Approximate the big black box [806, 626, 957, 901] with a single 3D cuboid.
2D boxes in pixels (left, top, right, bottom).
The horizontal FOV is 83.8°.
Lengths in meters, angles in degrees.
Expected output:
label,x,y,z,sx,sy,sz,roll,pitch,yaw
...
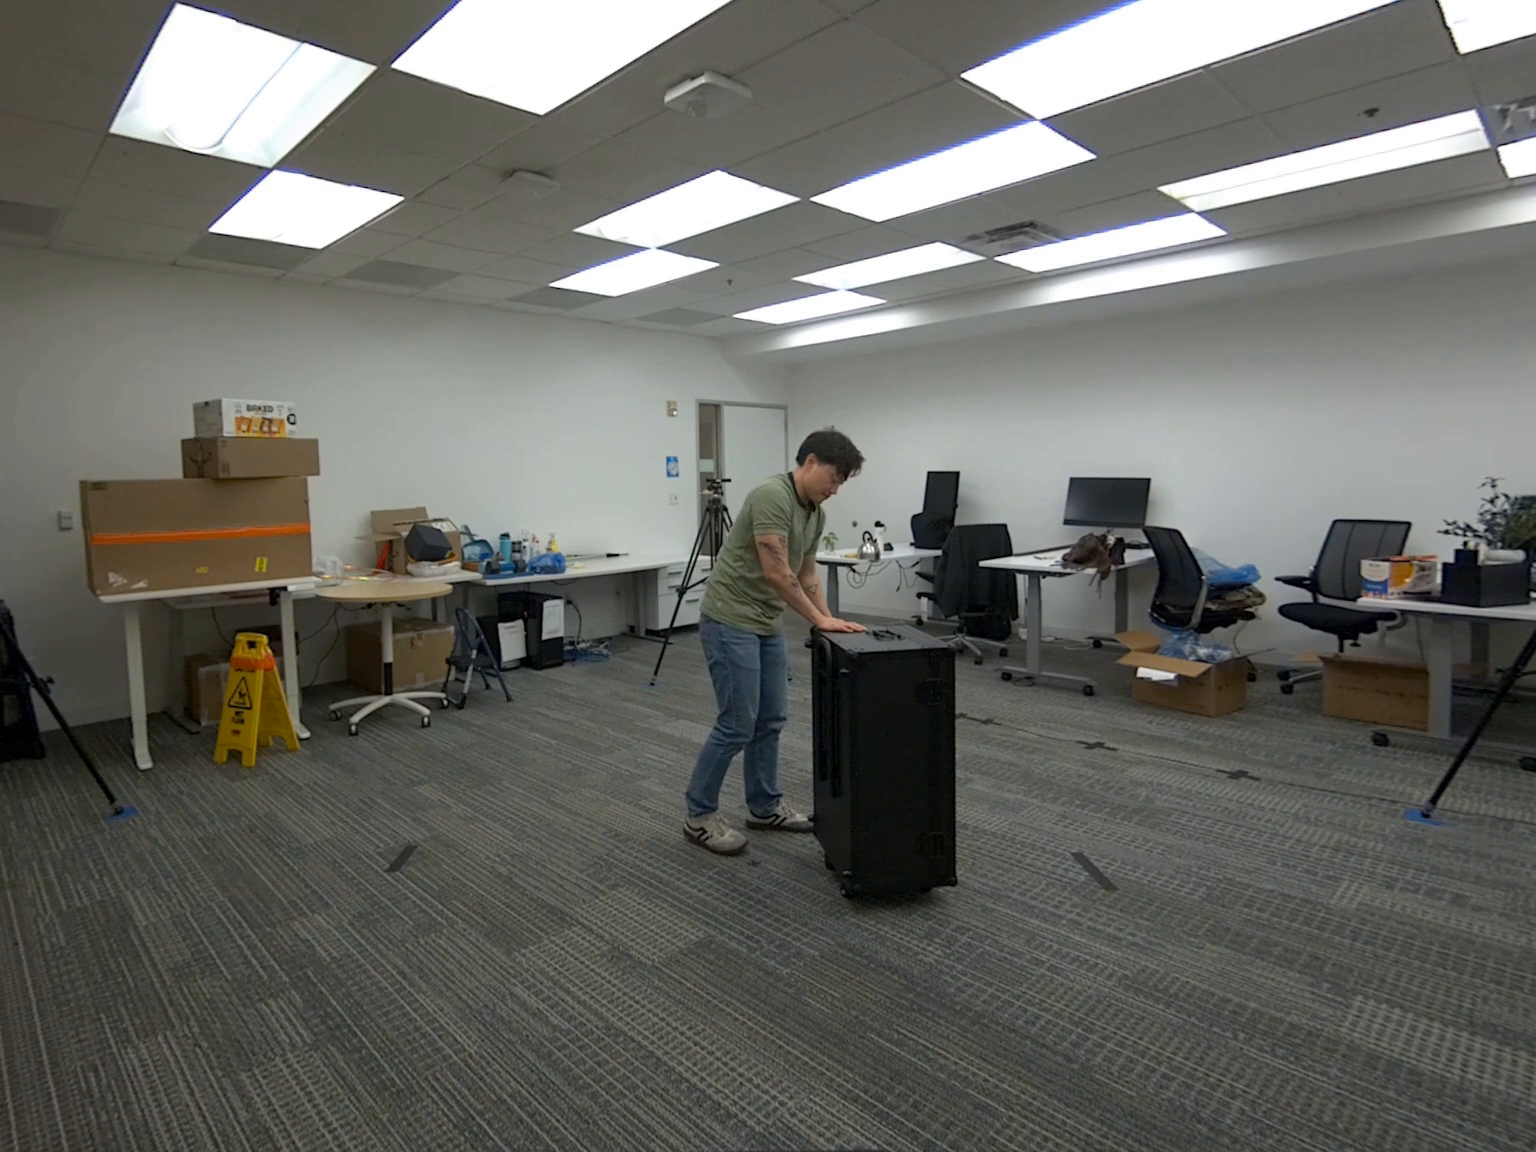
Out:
label,x,y,z,sx,sy,sz,roll,pitch,yaw
big black box,0.376,0.571,2.944,0.393,0.858,0.528,-2,4,-10
